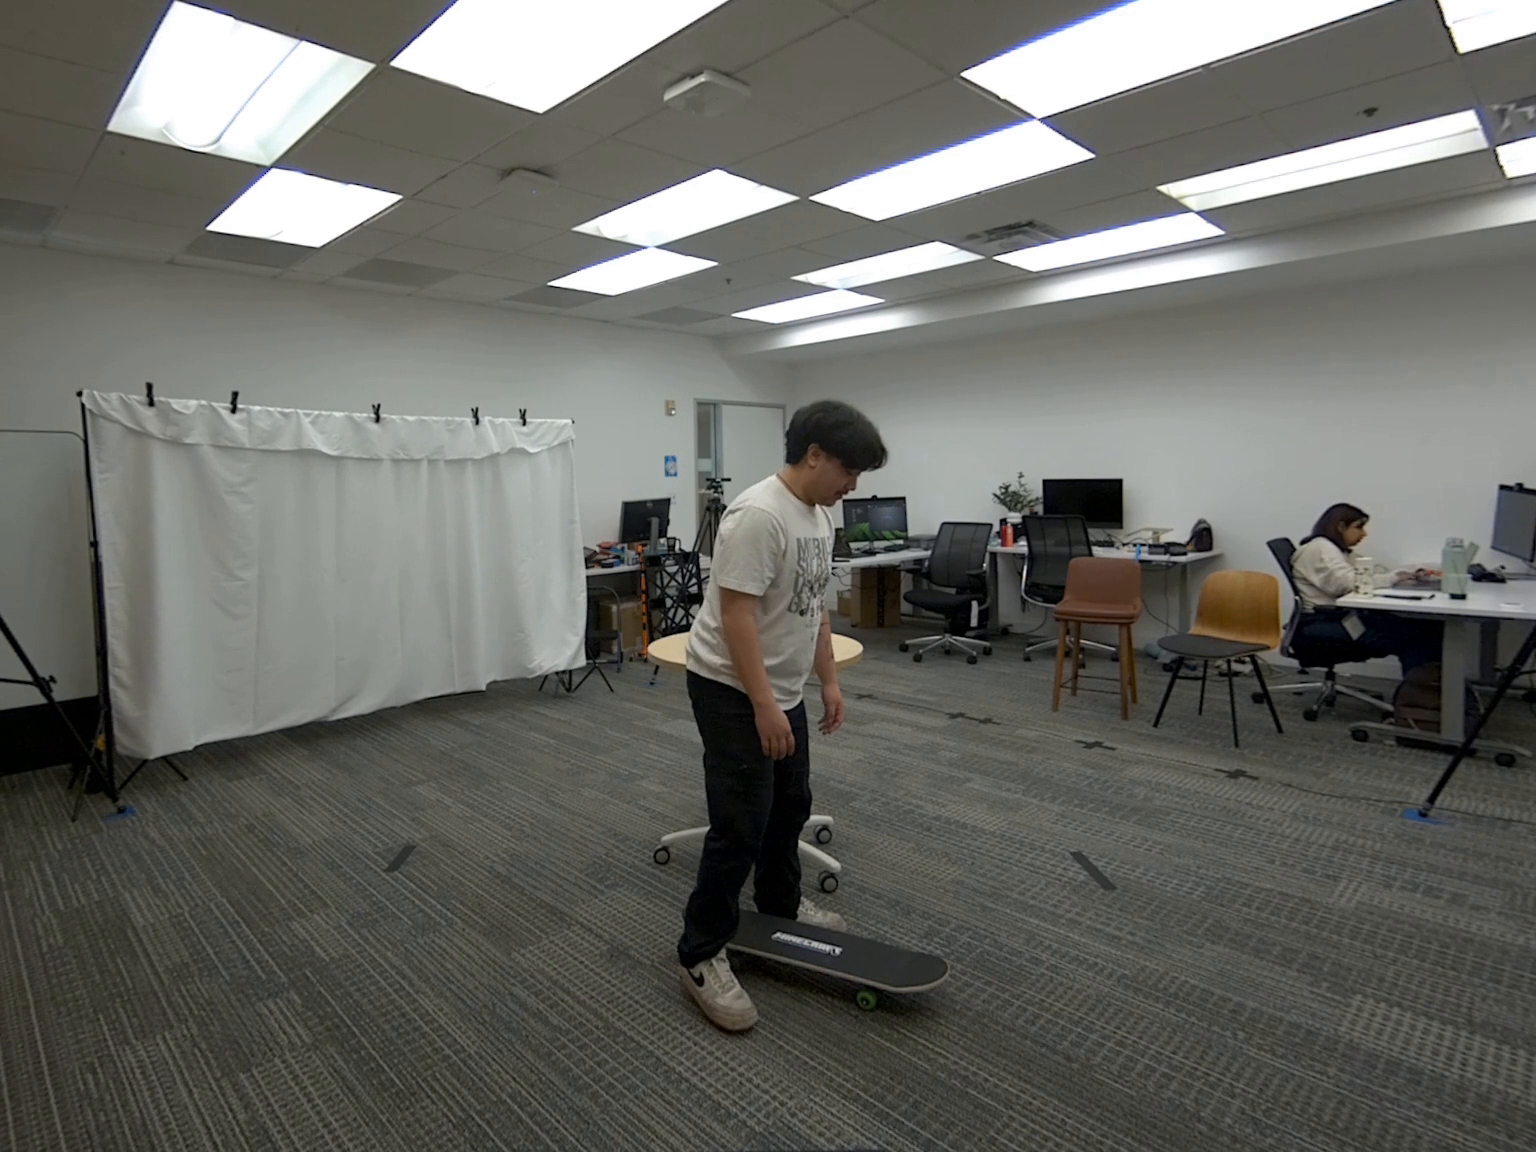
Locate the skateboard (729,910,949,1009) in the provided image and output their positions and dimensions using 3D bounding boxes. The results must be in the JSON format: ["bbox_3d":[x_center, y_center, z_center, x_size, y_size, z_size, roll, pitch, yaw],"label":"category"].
[{"bbox_3d":[0.118,1.068,2.403,0.804,0.110,0.190,2,7,27],"label":"skateboard"}]
